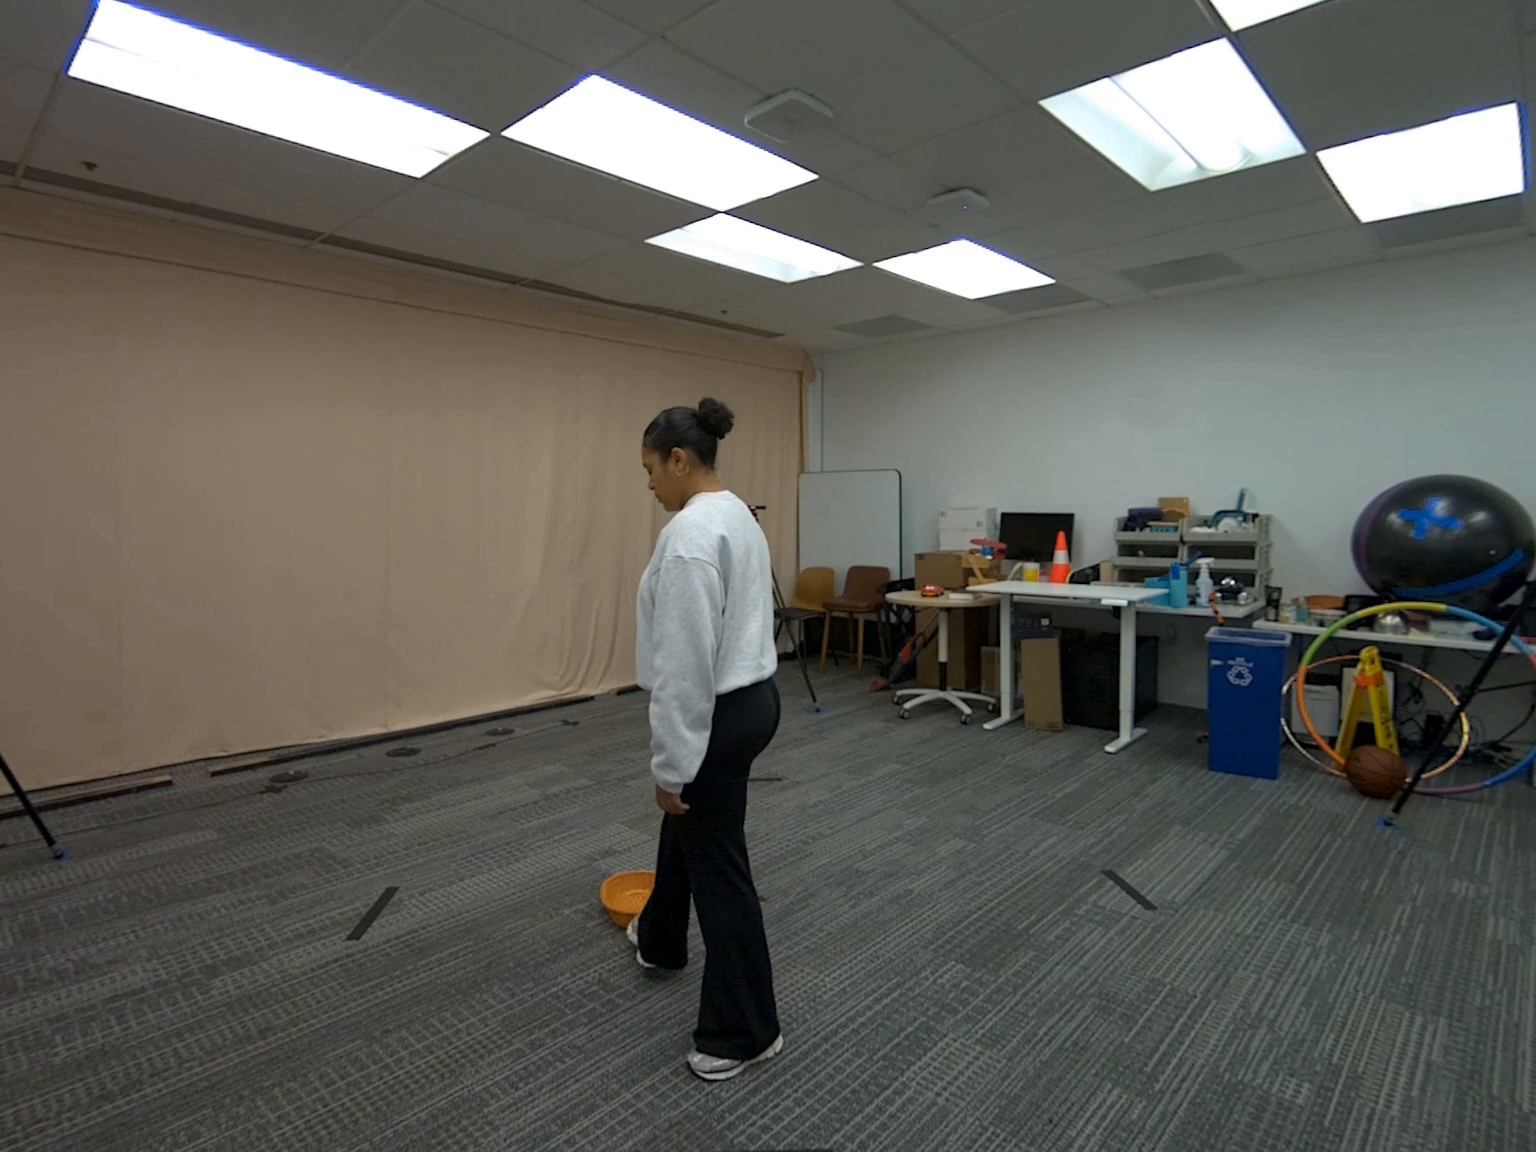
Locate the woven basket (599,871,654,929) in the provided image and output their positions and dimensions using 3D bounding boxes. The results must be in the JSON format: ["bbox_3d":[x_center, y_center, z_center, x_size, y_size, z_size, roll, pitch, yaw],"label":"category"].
[{"bbox_3d":[-0.451,1.110,2.871,0.250,0.073,0.354,-1,3,-9],"label":"woven basket"}]
